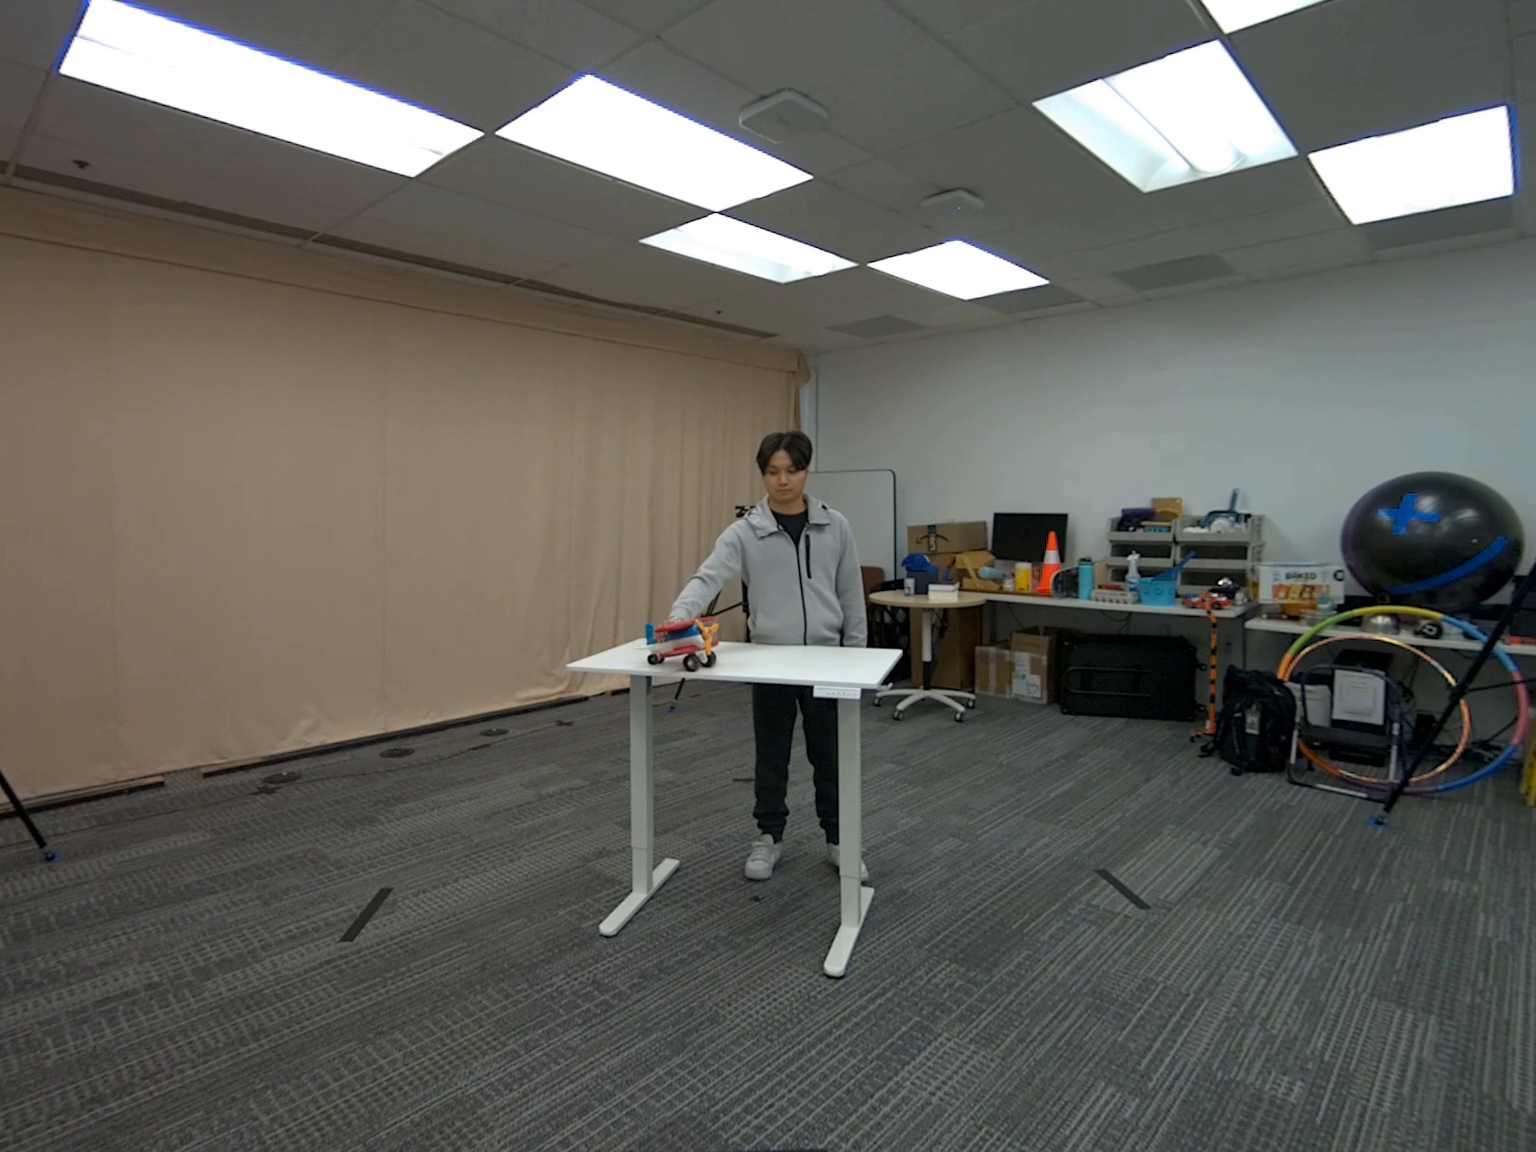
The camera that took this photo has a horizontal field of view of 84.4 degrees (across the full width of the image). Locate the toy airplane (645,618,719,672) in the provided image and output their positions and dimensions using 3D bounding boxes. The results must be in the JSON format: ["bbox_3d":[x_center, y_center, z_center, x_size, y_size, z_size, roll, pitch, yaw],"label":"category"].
[{"bbox_3d":[-0.288,0.216,2.660,0.261,0.156,0.250,1,3,5],"label":"toy airplane"}]
